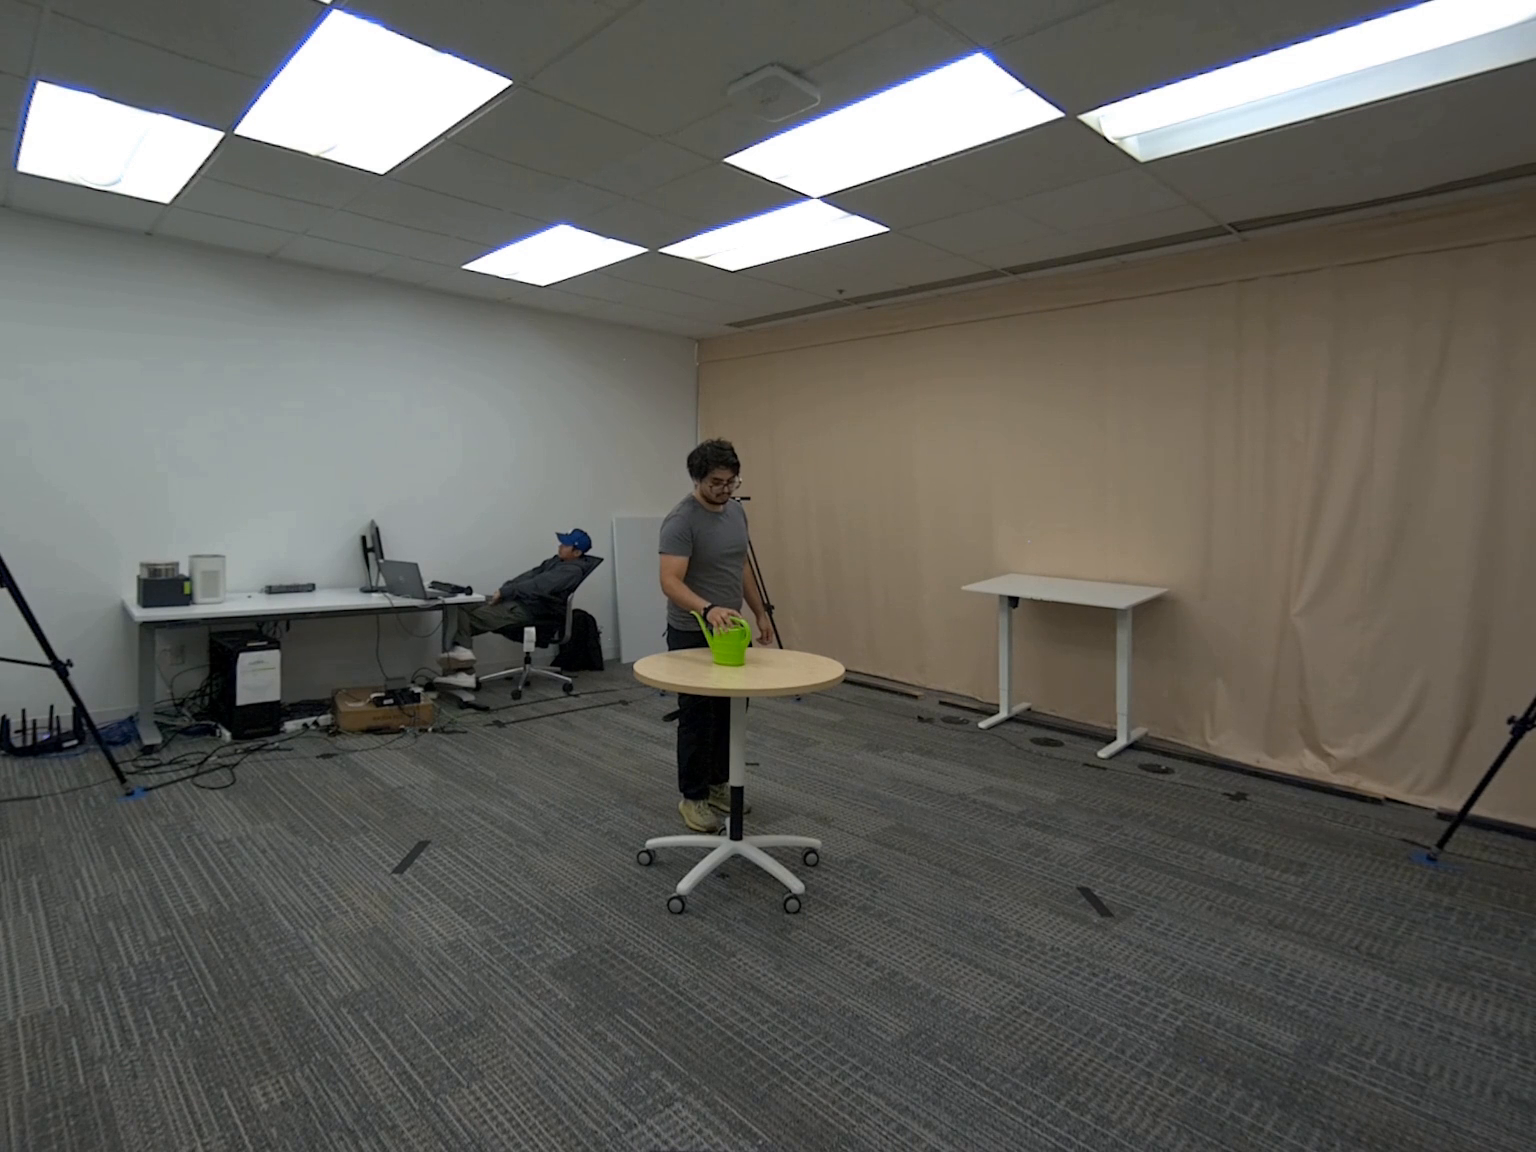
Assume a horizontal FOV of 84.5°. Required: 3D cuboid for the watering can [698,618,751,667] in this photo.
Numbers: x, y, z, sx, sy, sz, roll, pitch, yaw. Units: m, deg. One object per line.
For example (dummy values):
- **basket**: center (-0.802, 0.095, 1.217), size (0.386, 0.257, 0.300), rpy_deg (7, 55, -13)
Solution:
- **watering can**: center (-0.187, 0.235, 3.134), size (0.096, 0.176, 0.285), rpy_deg (-2, 5, -41)
